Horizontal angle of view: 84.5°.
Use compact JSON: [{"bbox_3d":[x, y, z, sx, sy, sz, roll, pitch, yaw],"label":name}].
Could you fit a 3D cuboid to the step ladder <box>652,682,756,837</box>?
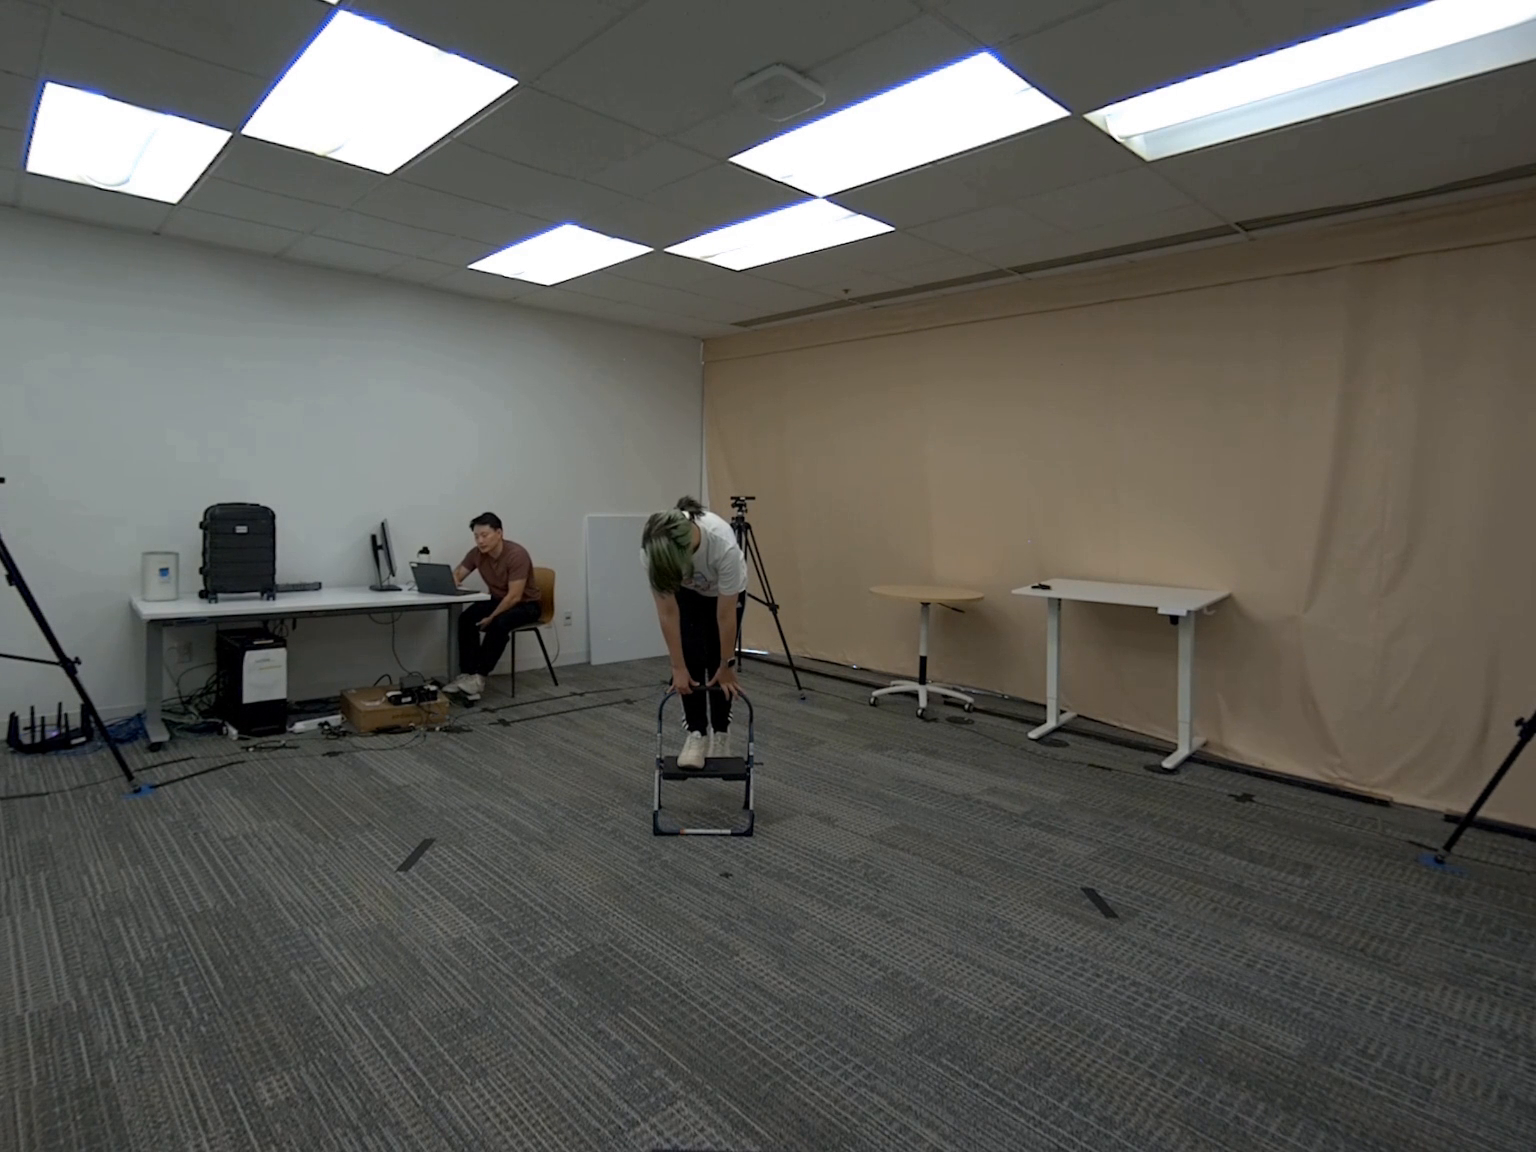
[{"bbox_3d":[-0.279,0.758,3.614,0.429,0.604,0.351,2,3,-4],"label":"step ladder"}]
